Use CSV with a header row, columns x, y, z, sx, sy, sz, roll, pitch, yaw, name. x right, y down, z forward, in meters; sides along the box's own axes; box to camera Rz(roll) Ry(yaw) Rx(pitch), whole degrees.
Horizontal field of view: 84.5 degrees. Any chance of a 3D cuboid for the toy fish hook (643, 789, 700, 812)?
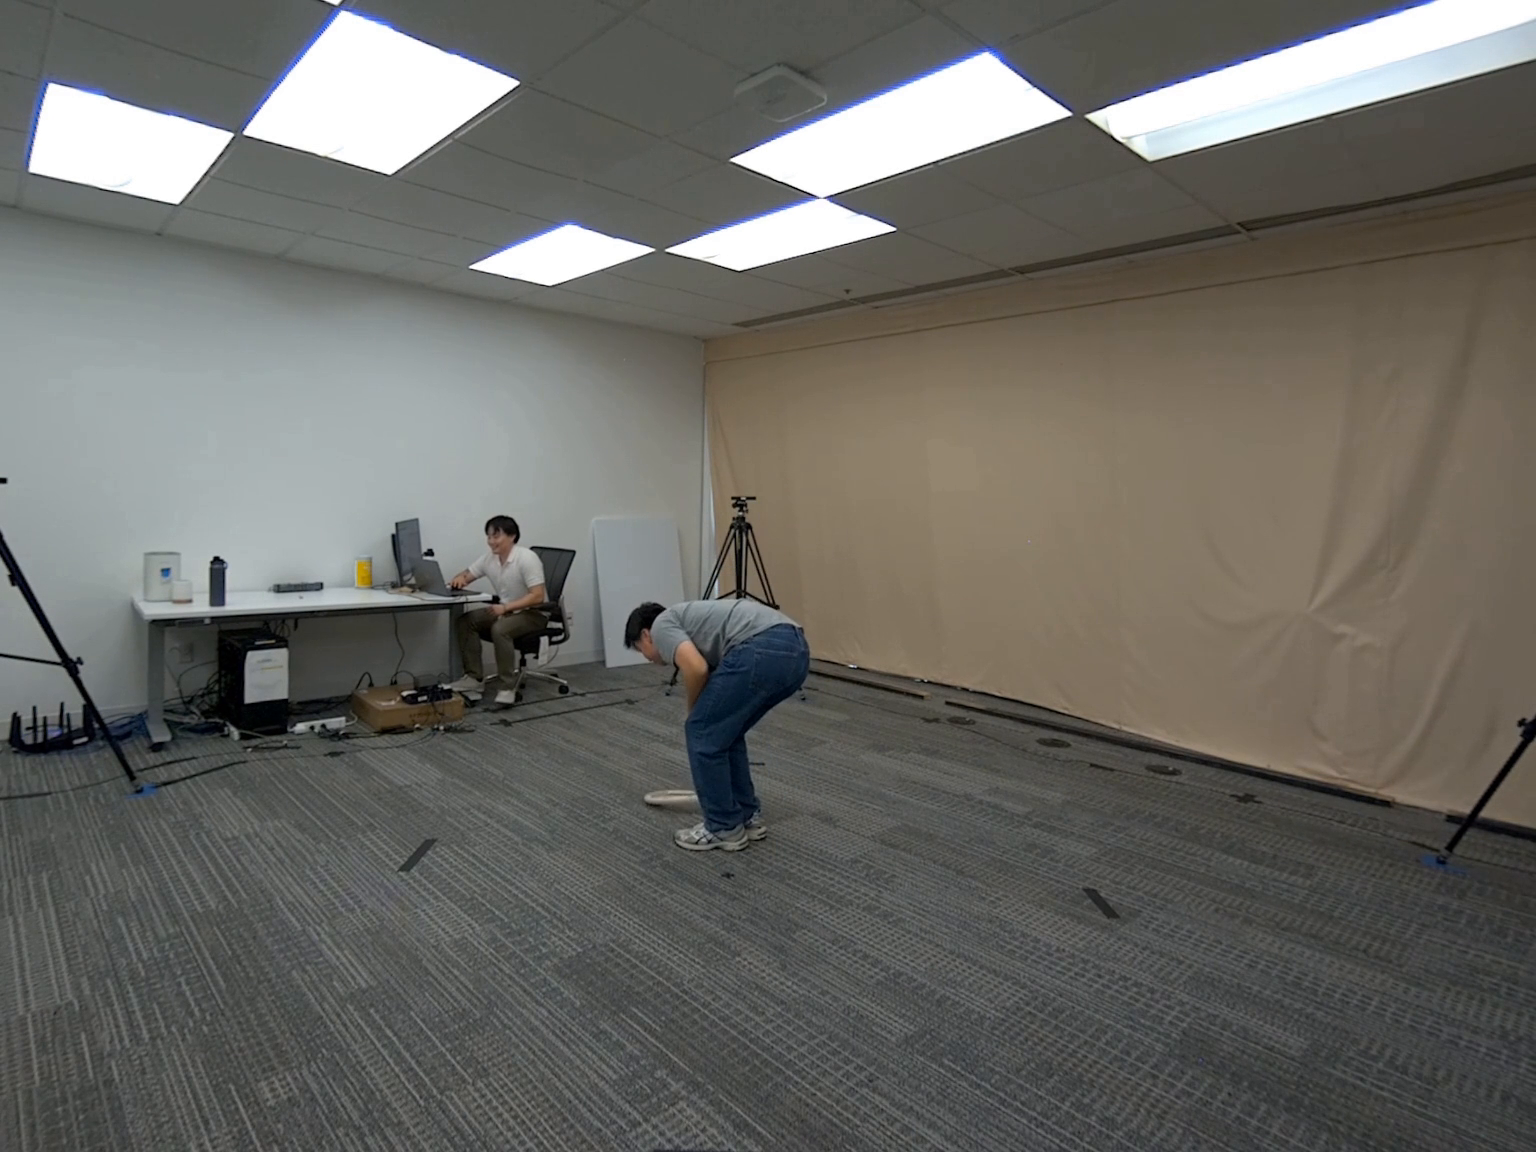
x,y,z,sx,sy,sz,roll,pitch,yaw,name
-0.319,0.982,3.793,0.514,0.048,0.221,-3,3,20,toy fish hook
